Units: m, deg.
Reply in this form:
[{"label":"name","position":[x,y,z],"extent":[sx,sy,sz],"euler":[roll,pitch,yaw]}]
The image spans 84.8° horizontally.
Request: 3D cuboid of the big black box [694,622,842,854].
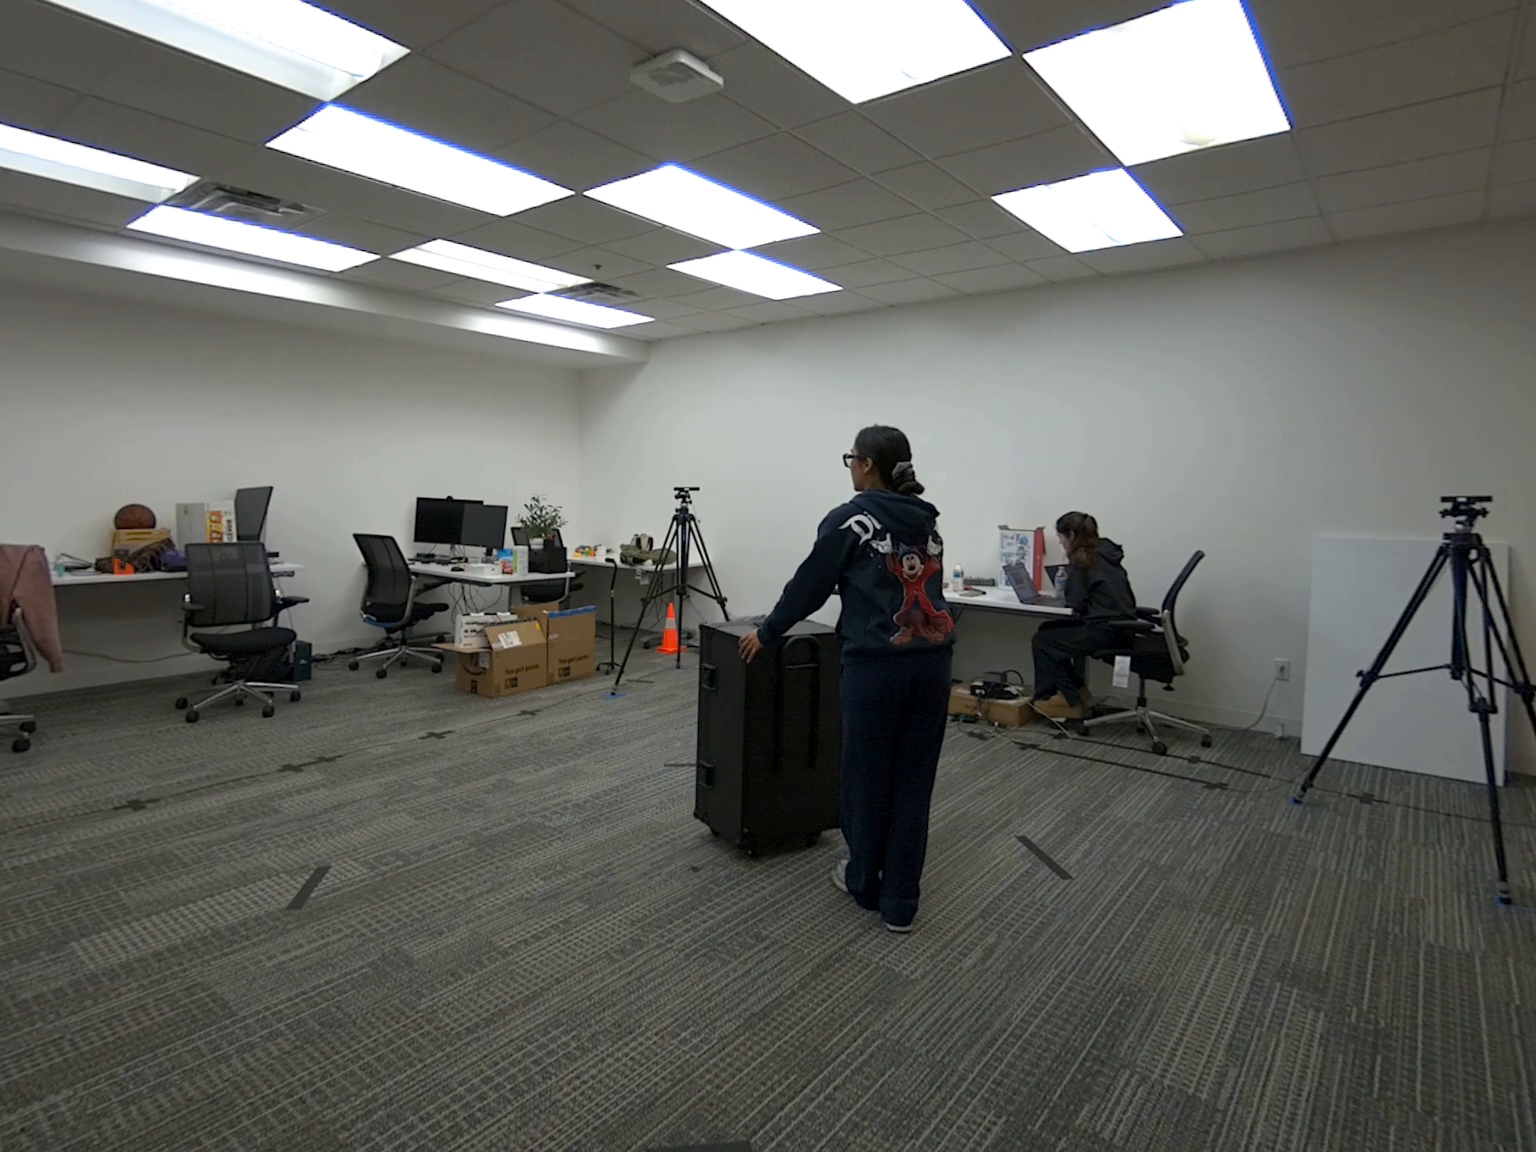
[{"label":"big black box","position":[0.009,0.623,3.359],"extent":[0.506,0.858,0.409],"euler":[0,5,-32]}]
